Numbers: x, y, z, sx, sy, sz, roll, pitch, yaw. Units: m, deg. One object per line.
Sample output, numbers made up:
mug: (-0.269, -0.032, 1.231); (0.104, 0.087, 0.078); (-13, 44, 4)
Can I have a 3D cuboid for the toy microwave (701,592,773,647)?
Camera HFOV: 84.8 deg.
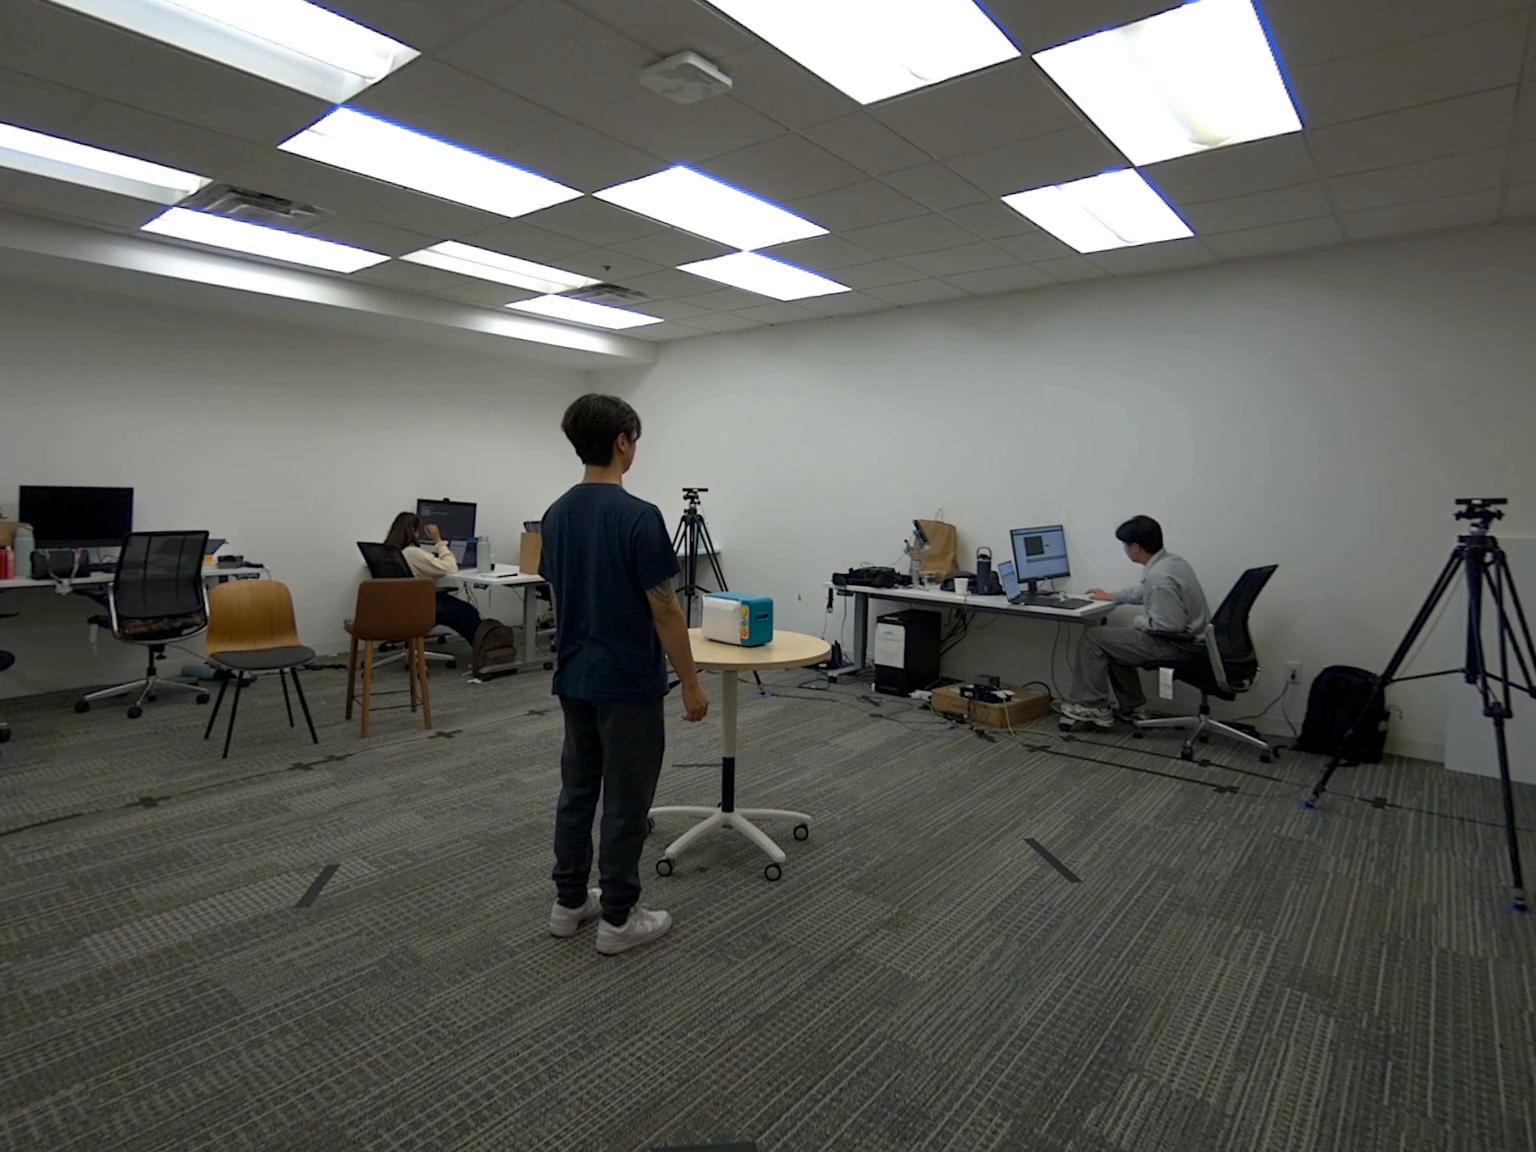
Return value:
toy microwave: (-0.140, 0.162, 3.303); (0.296, 0.183, 0.148); (6, 6, 44)
